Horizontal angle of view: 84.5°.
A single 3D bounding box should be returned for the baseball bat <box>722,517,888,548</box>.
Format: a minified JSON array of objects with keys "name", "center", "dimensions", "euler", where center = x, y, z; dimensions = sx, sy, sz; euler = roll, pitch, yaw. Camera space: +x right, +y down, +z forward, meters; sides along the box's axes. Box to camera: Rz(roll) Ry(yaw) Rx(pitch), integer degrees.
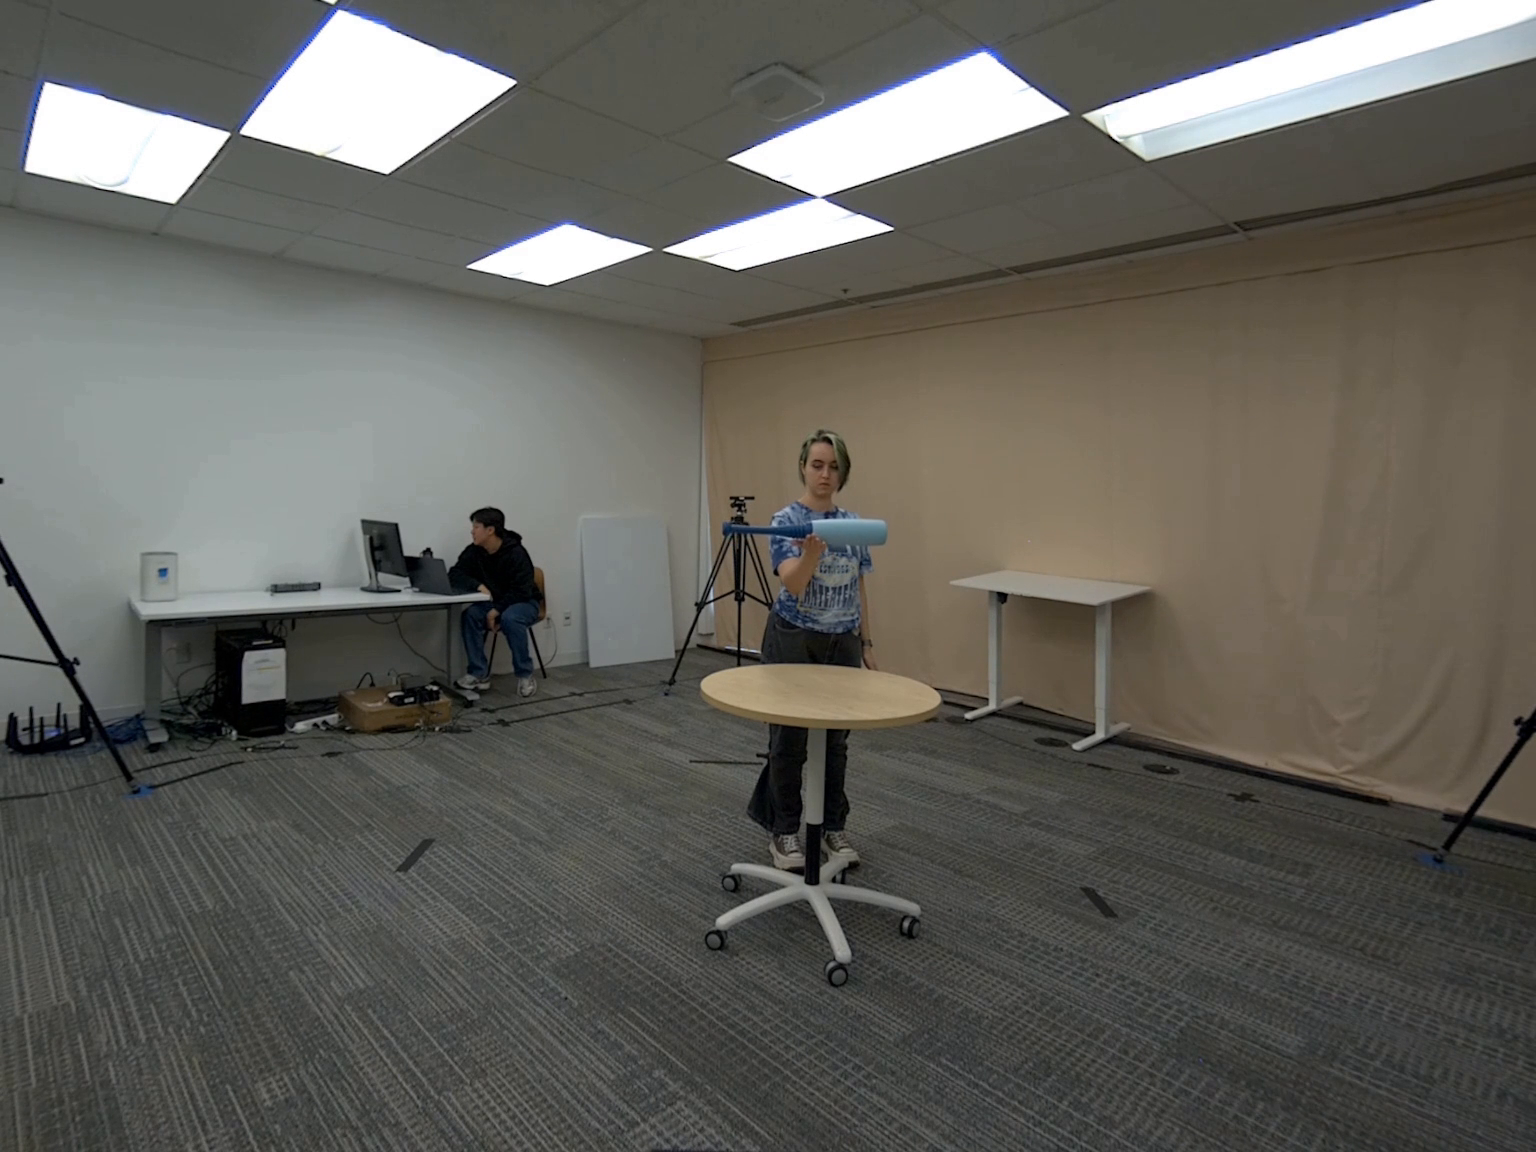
[{"name":"baseball bat","center":[0.120,-0.138,2.747],"dimensions":[0.540,0.089,0.090],"euler":[0,4,-6]}]
